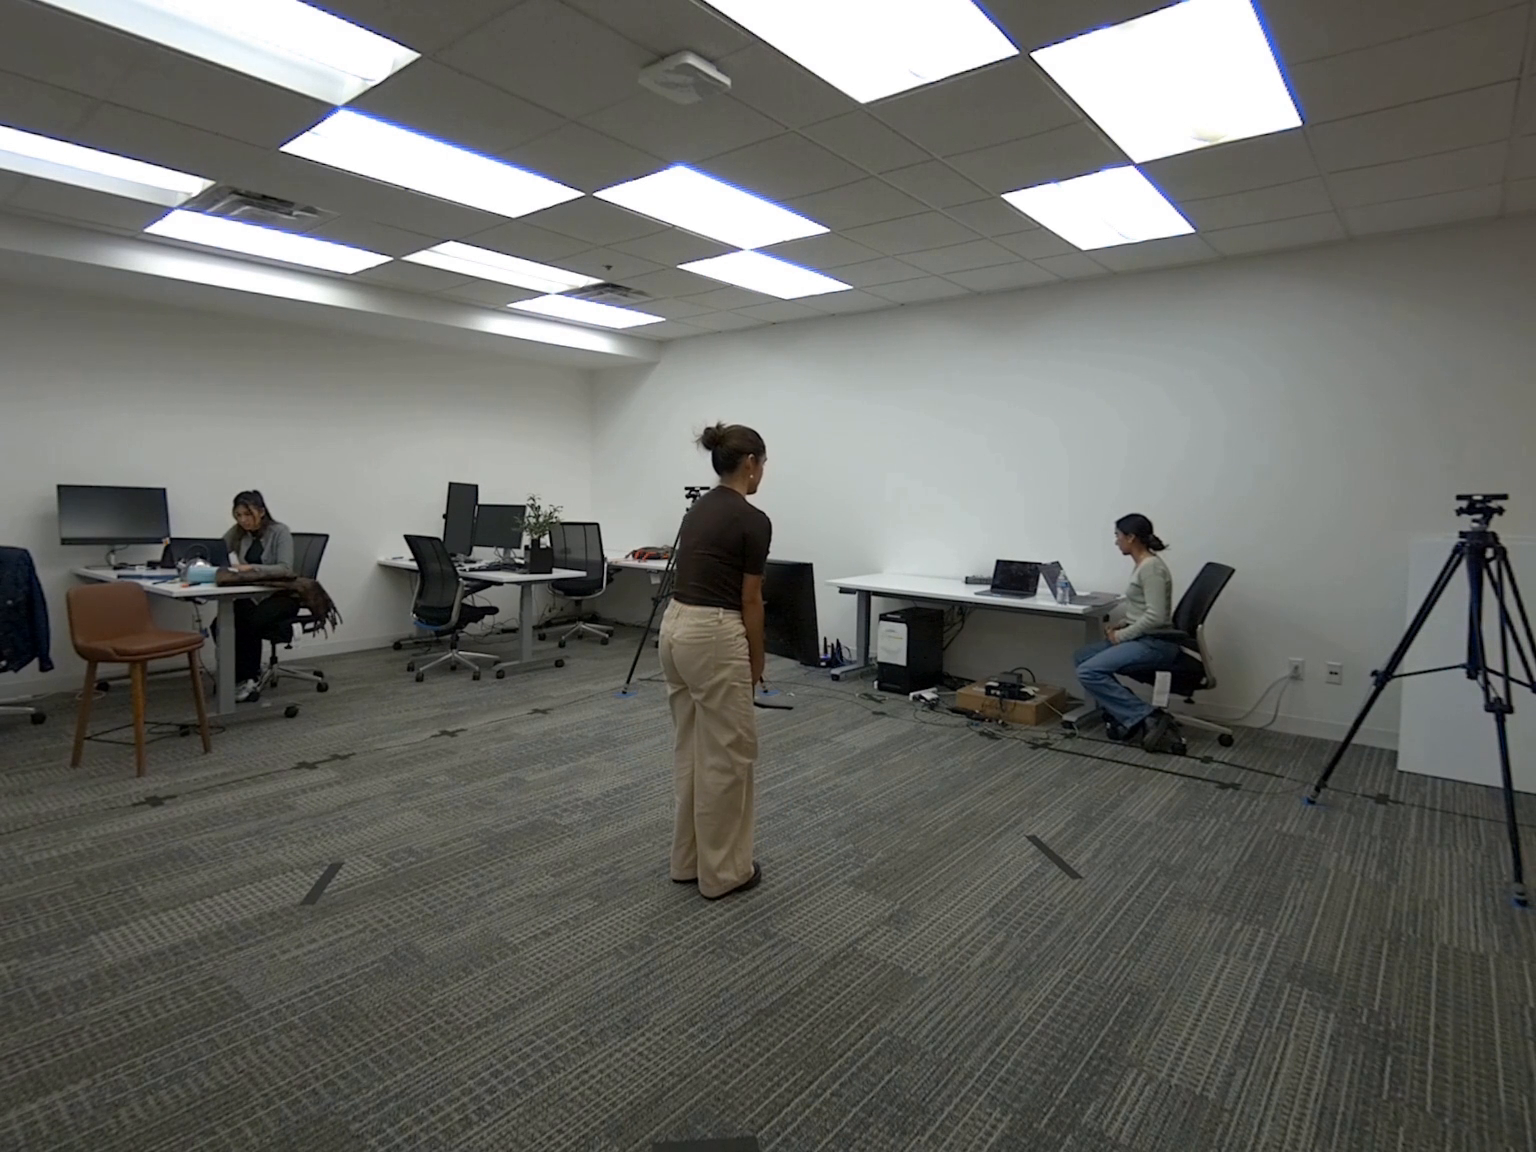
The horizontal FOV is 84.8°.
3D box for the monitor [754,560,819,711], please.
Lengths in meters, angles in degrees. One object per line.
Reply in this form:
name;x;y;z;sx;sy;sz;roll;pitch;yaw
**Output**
monitor;-0.025;0.197;3.058;0.181;0.523;0.556;7;-1;-34
